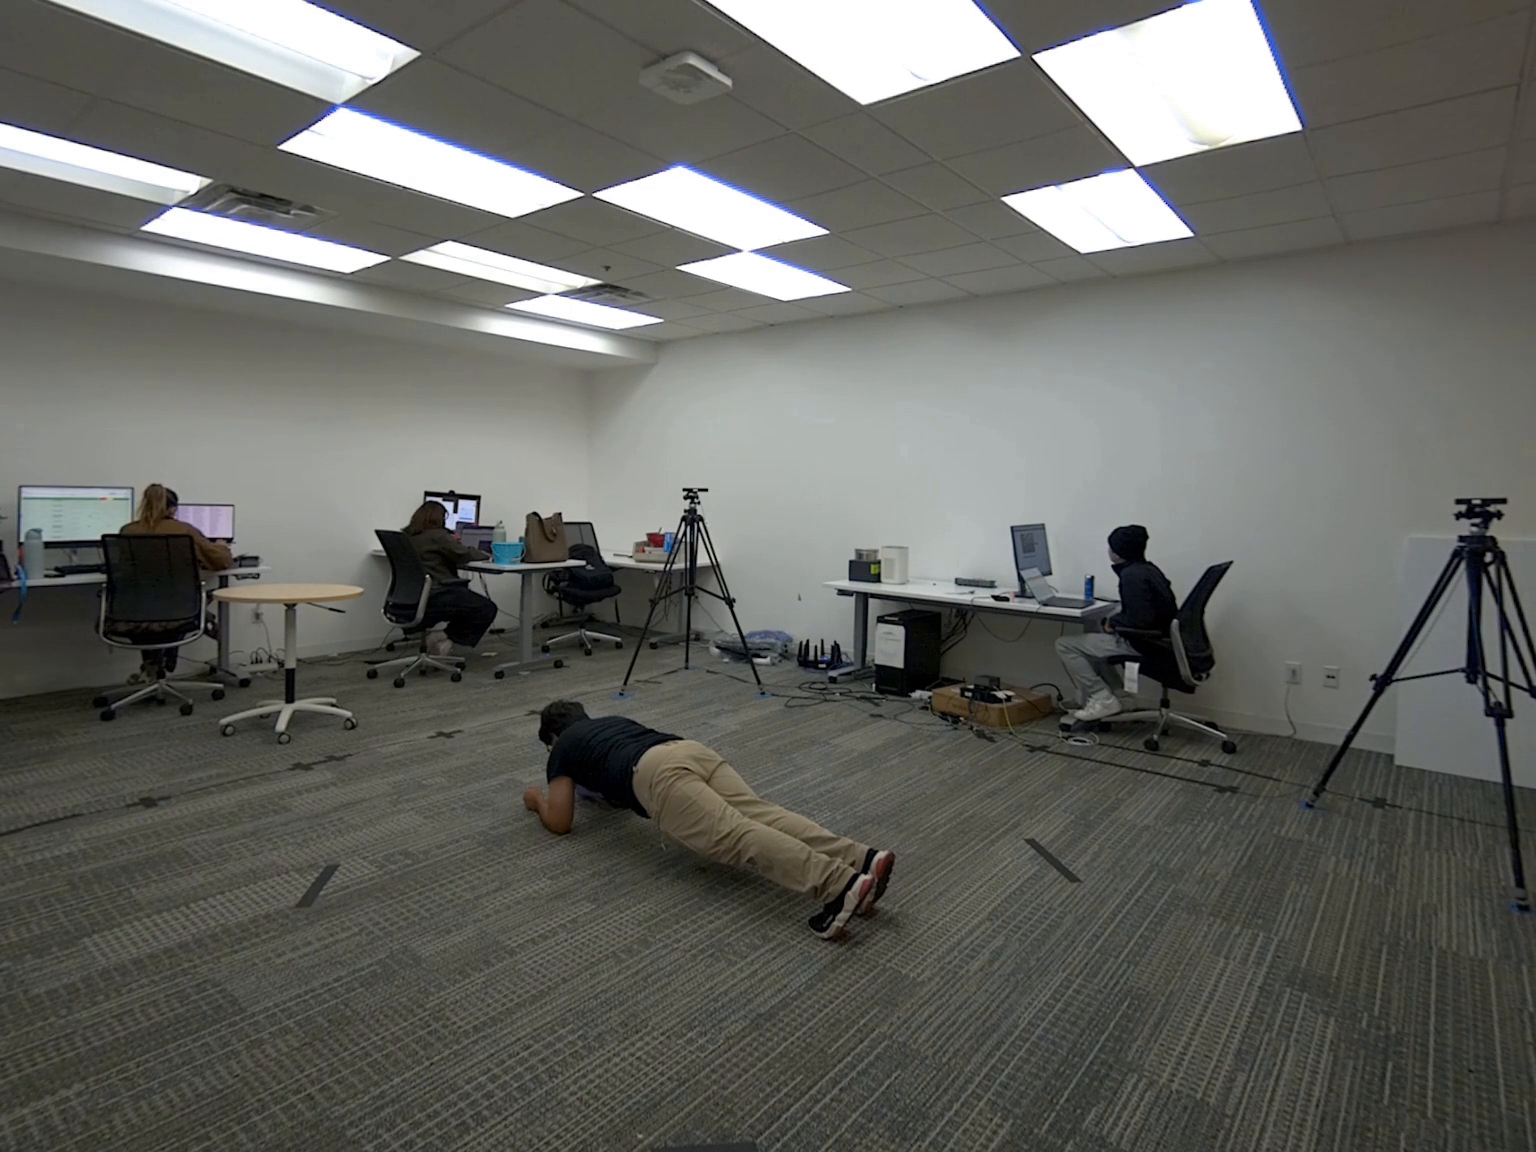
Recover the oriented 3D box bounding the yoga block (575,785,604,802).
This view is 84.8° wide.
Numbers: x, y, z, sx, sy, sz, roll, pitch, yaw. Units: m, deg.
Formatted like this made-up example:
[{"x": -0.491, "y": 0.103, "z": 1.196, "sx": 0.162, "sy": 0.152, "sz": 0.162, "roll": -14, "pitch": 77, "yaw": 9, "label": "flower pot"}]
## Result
[{"x": -0.773, "y": 0.884, "z": 3.754, "sx": 0.074, "sy": 0.149, "sz": 0.235, "roll": -11, "pitch": 3, "yaw": -43, "label": "yoga block"}]
